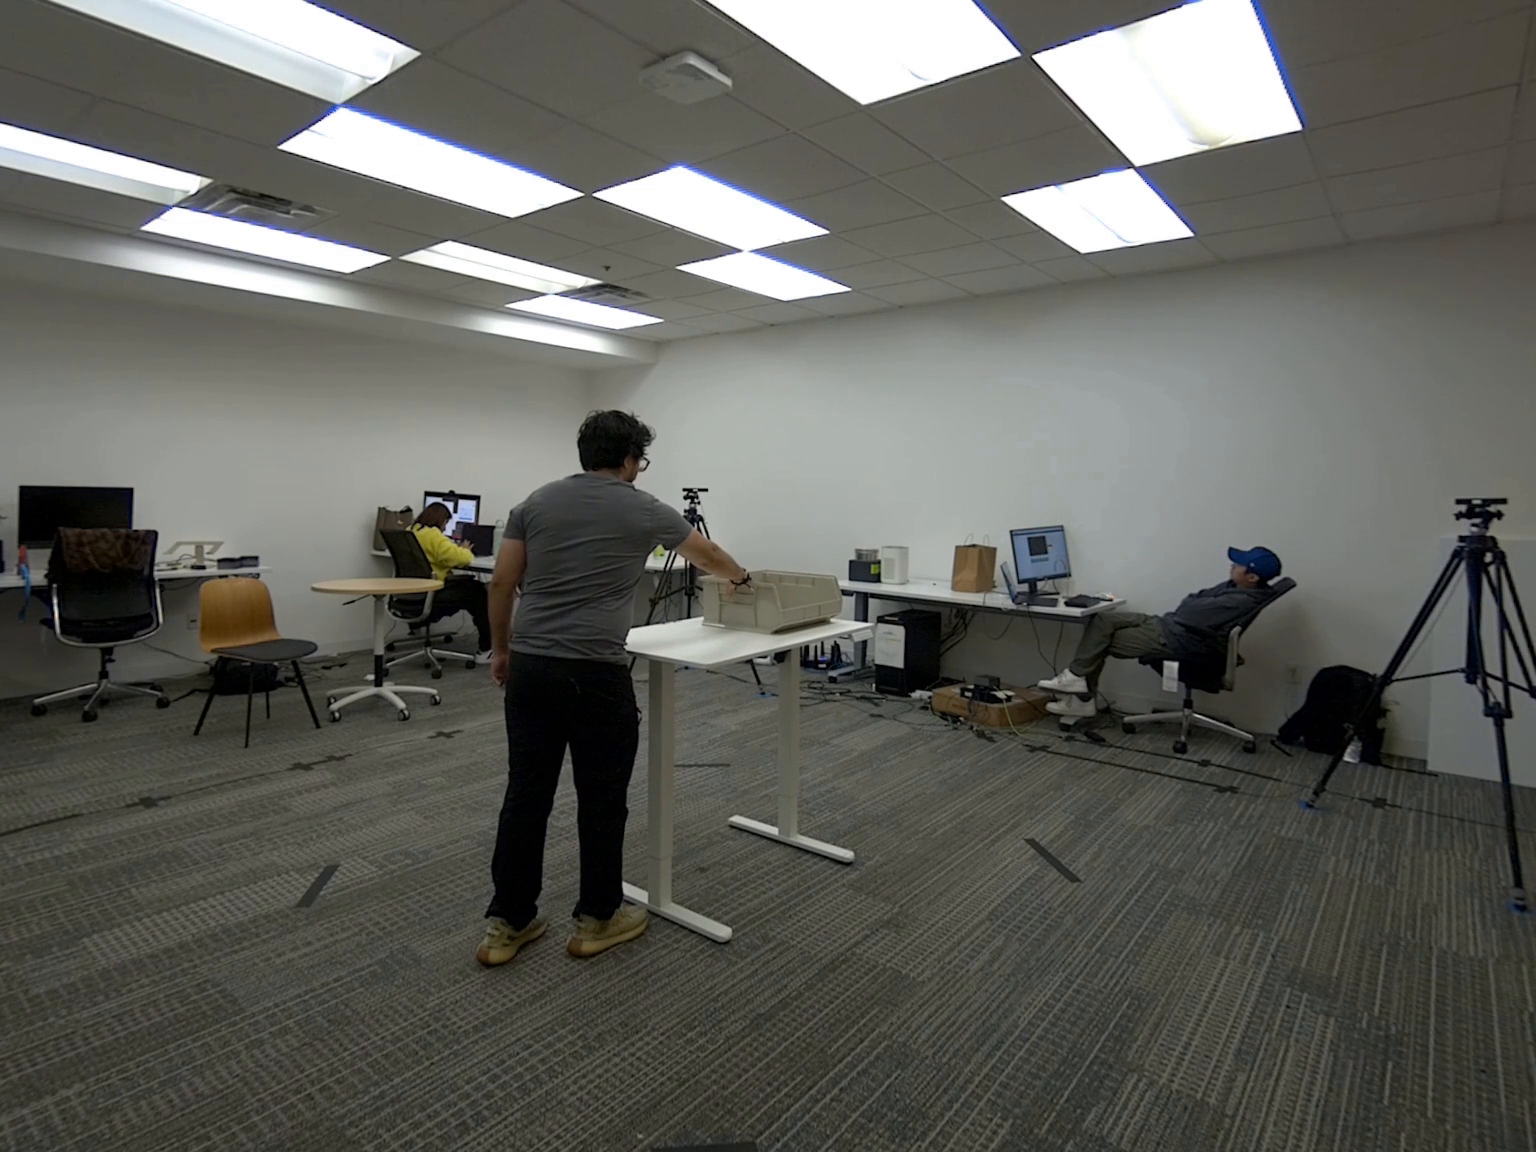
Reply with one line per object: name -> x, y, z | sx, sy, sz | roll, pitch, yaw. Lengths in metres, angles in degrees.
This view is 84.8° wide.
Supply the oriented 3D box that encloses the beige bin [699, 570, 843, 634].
beige bin -> 0.009, 0.091, 3.213 | 0.389, 0.188, 0.410 | 3, 6, 38
